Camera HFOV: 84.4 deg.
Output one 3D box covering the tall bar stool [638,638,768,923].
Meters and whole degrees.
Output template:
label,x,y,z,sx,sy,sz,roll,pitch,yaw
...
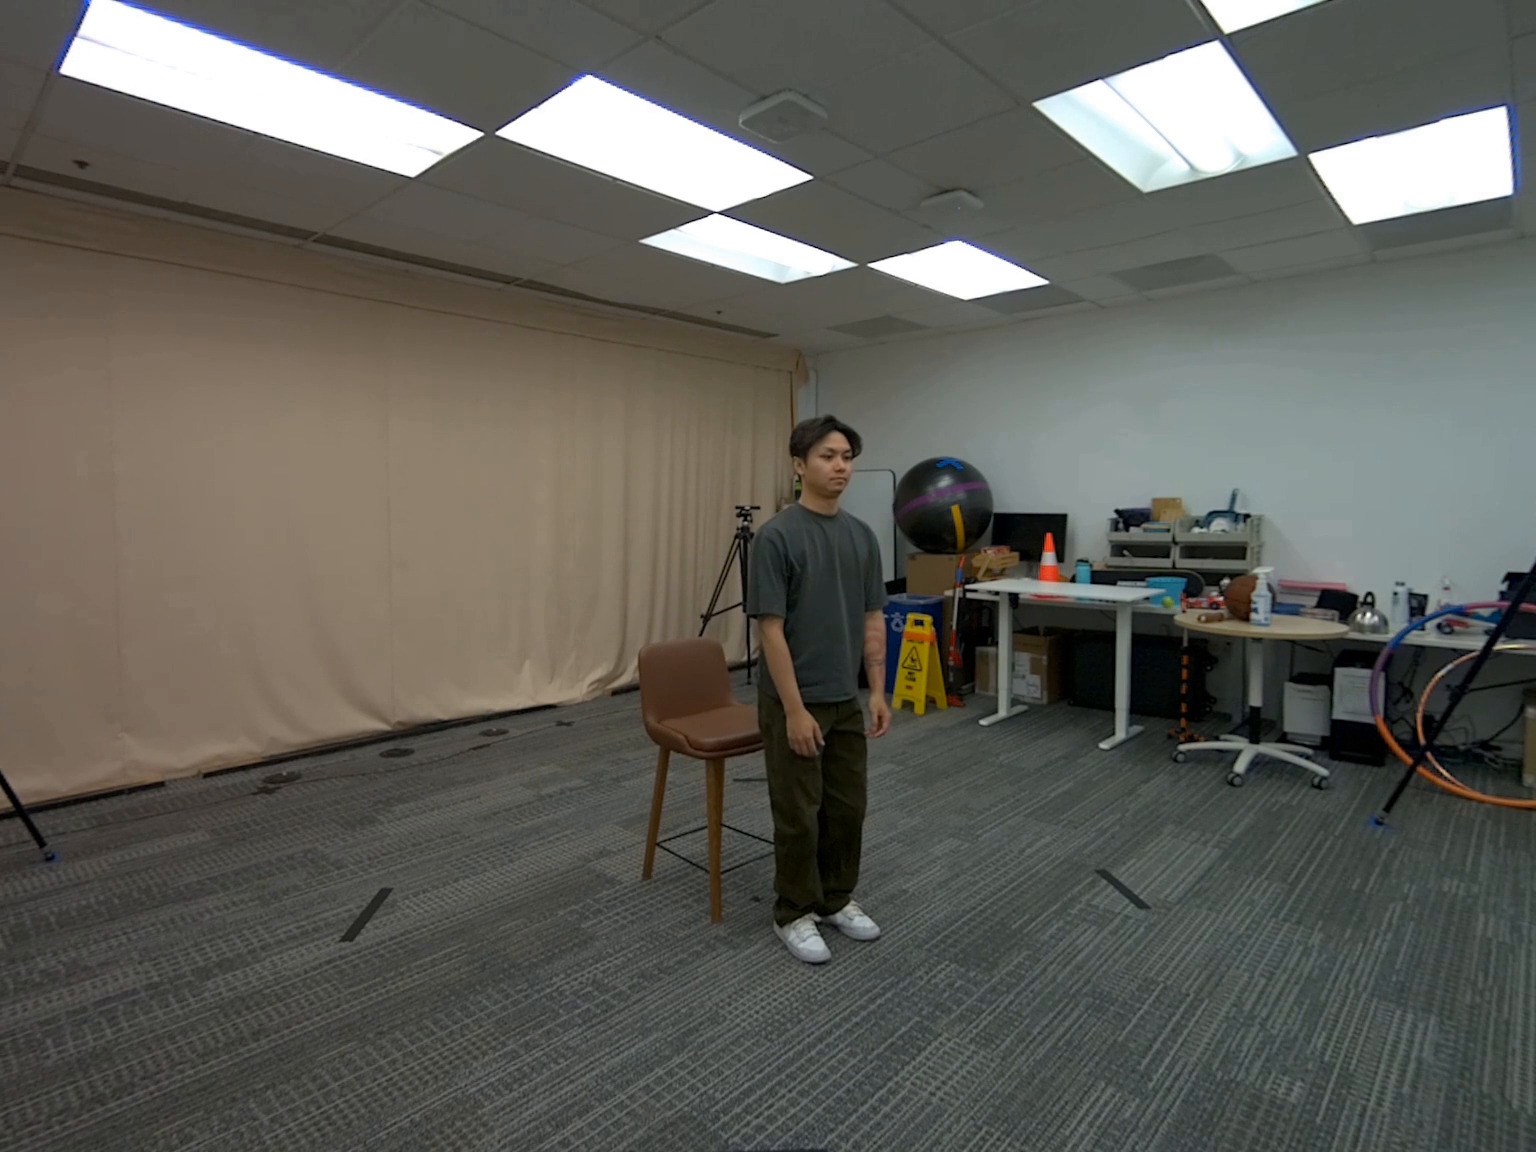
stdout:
label,x,y,z,sx,sy,sz,roll,pitch,yaw
tall bar stool,-0.190,0.699,3.093,0.442,0.889,0.482,-4,2,-43
